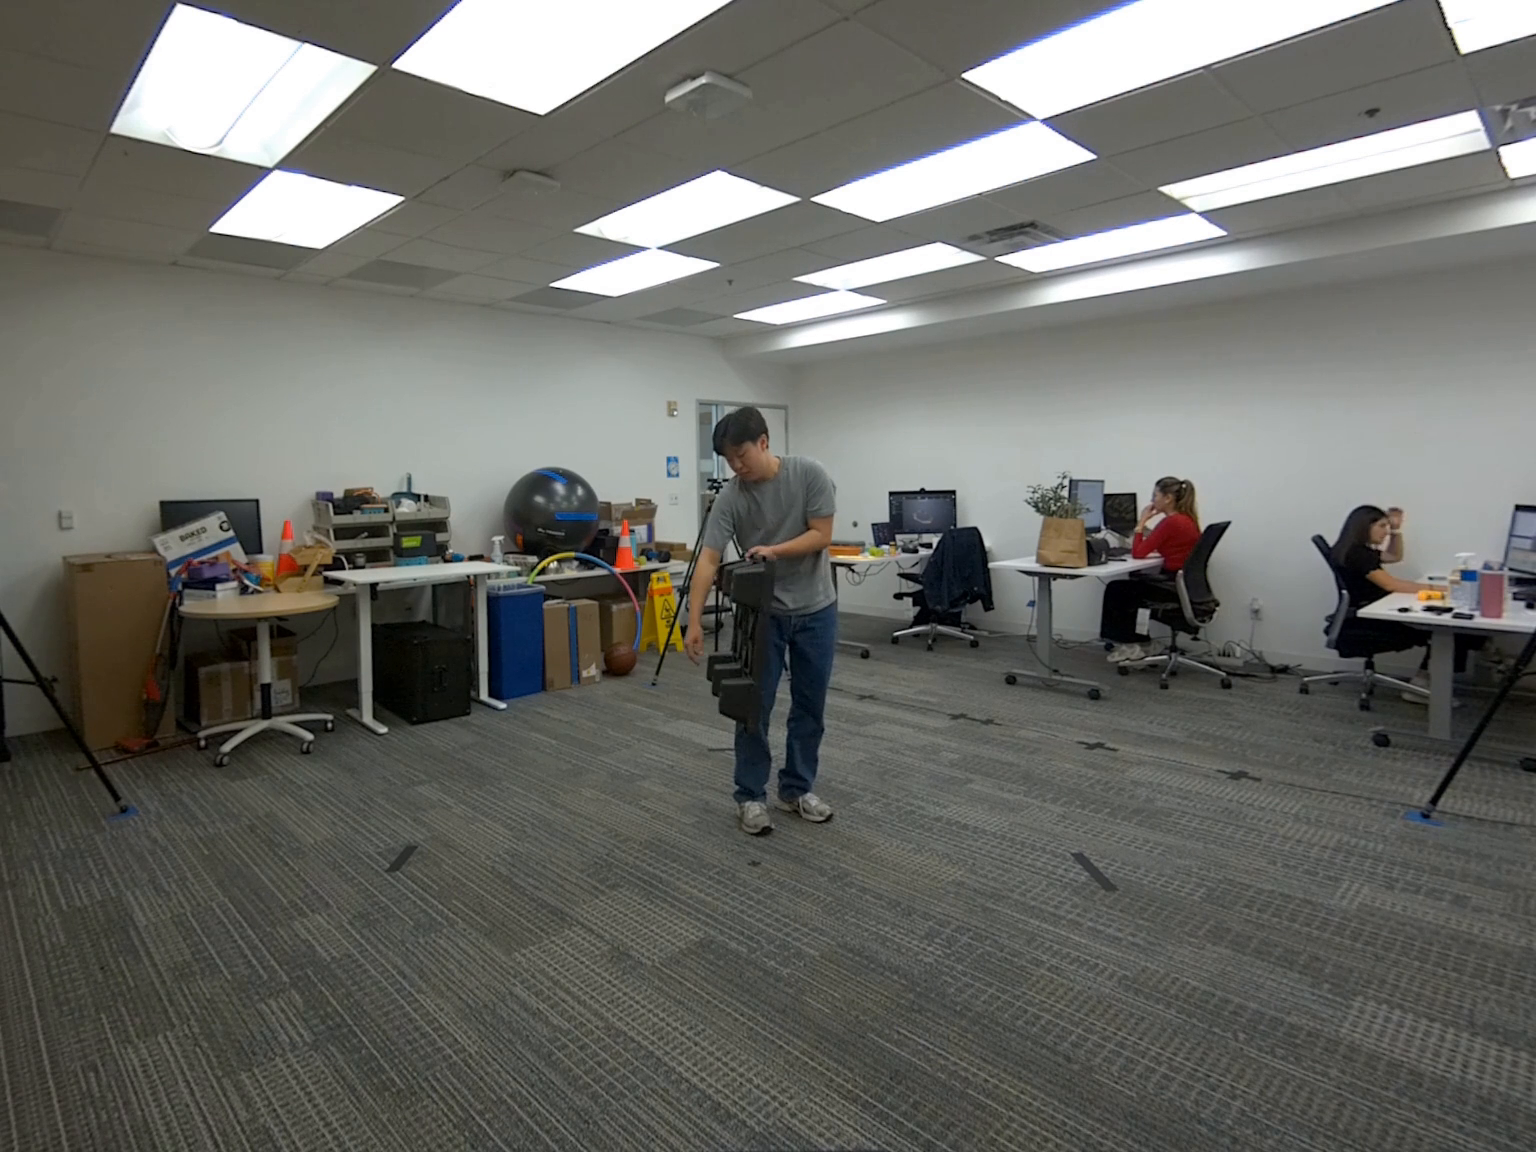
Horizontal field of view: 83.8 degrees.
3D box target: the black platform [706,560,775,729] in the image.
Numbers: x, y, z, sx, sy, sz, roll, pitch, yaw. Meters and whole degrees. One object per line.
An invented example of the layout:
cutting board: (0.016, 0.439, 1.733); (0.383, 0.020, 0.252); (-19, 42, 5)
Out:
black platform: (-0.118, 0.217, 3.183); (0.142, 0.605, 0.810); (5, 1, -7)
